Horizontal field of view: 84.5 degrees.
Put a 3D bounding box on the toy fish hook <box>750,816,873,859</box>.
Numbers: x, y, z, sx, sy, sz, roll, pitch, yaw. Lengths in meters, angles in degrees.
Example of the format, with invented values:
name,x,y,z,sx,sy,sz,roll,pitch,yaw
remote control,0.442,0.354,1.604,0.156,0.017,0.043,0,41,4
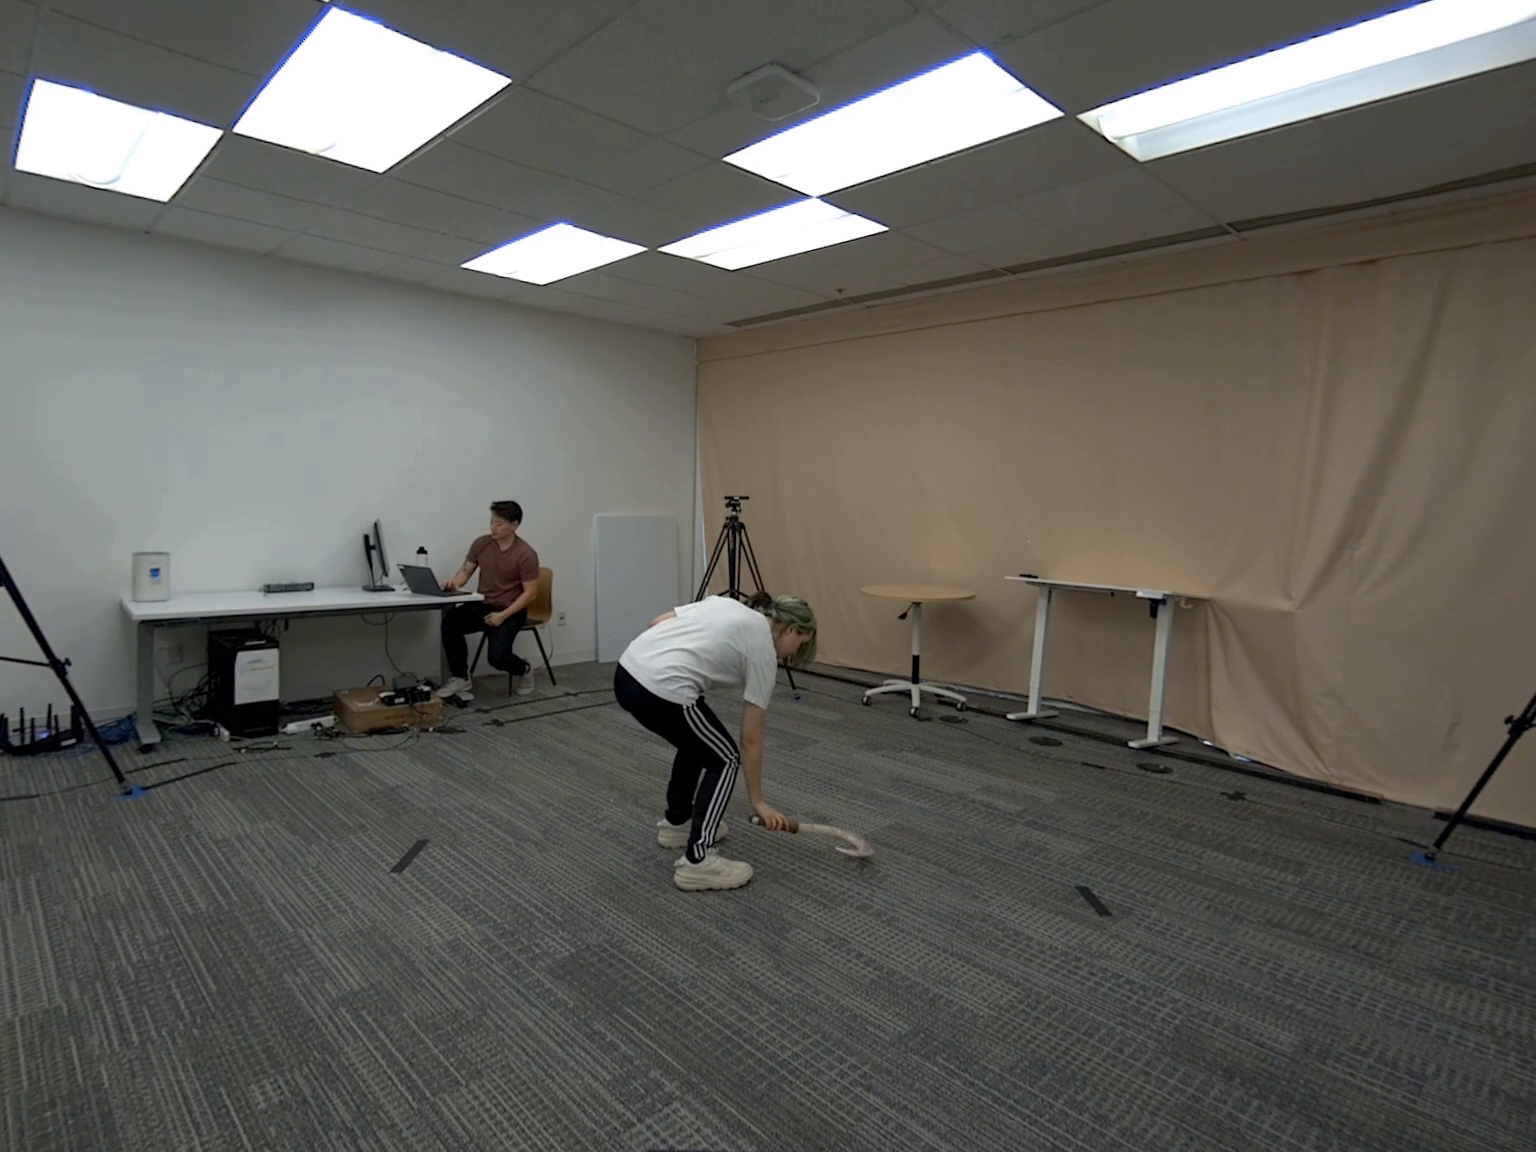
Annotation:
name,x,y,z,sx,sy,sz,roll,pitch,yaw
toy fish hook,0.180,0.993,3.202,0.499,0.048,0.228,17,-2,-16
